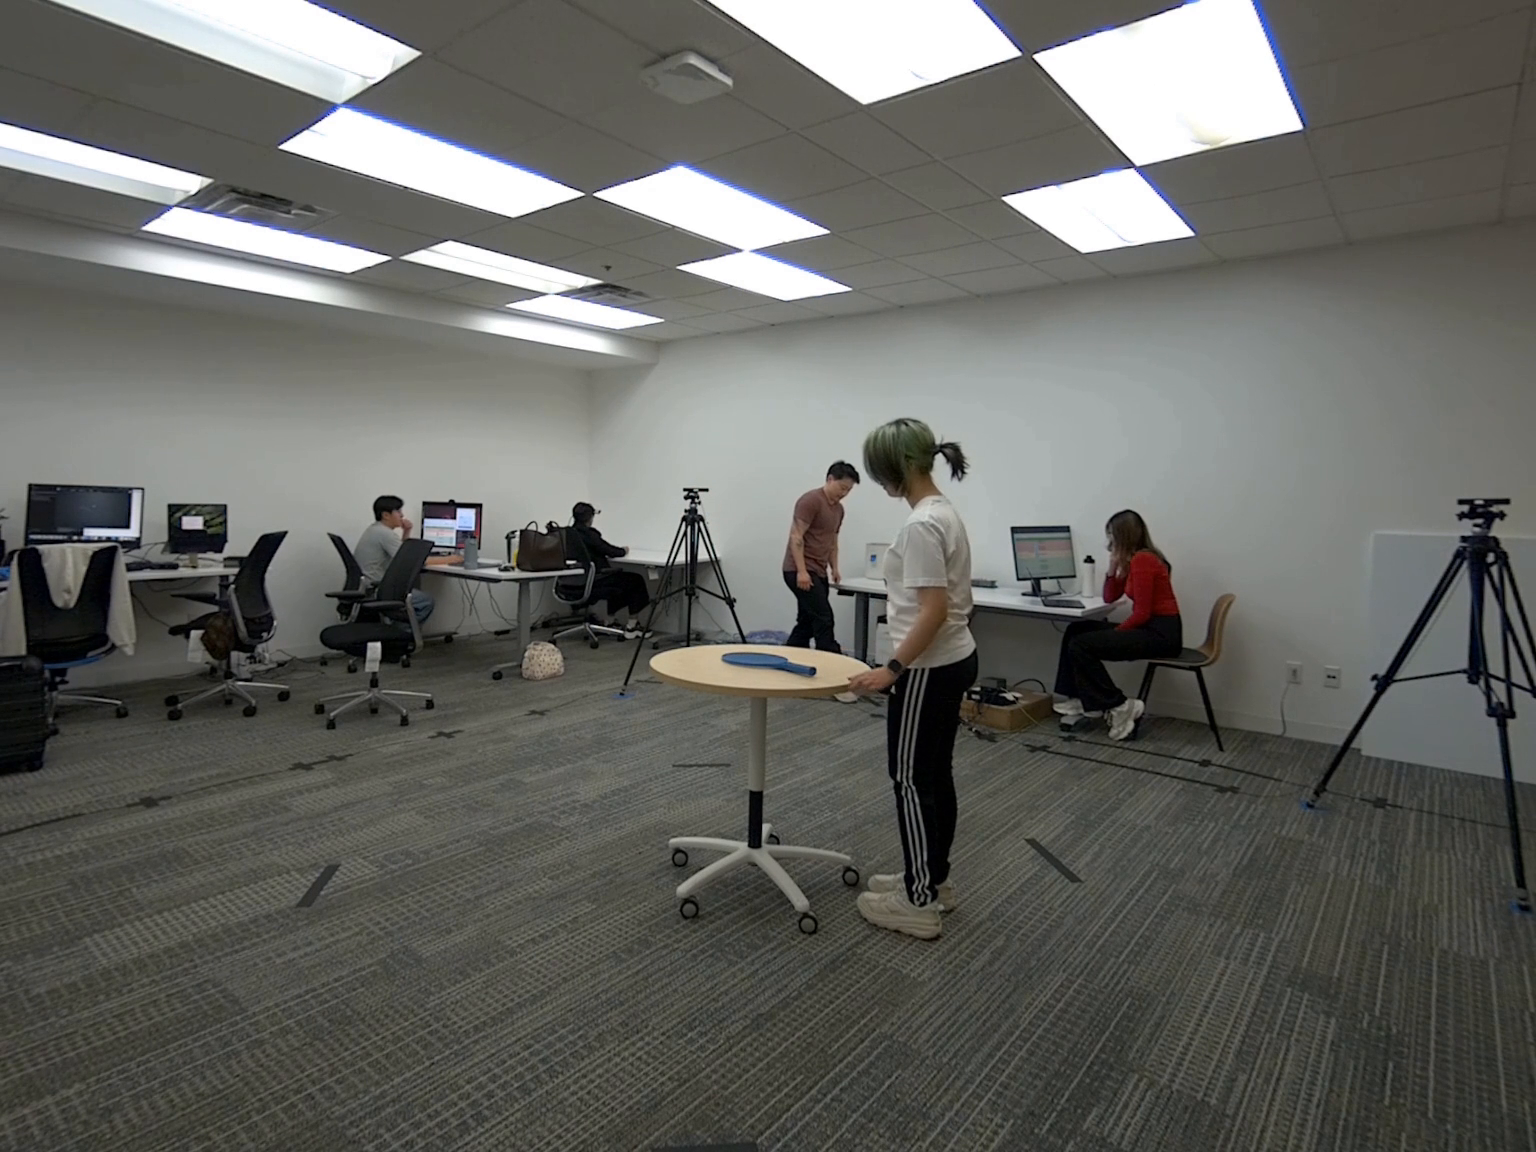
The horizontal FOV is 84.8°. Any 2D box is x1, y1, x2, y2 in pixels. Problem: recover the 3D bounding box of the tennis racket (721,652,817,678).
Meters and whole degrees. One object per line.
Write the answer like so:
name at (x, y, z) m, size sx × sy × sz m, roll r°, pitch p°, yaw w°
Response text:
tennis racket at (0.000, 0.297, 2.935) m, size 0.207 × 0.031 × 0.447 m, roll -4°, pitch 7°, yaw -40°
